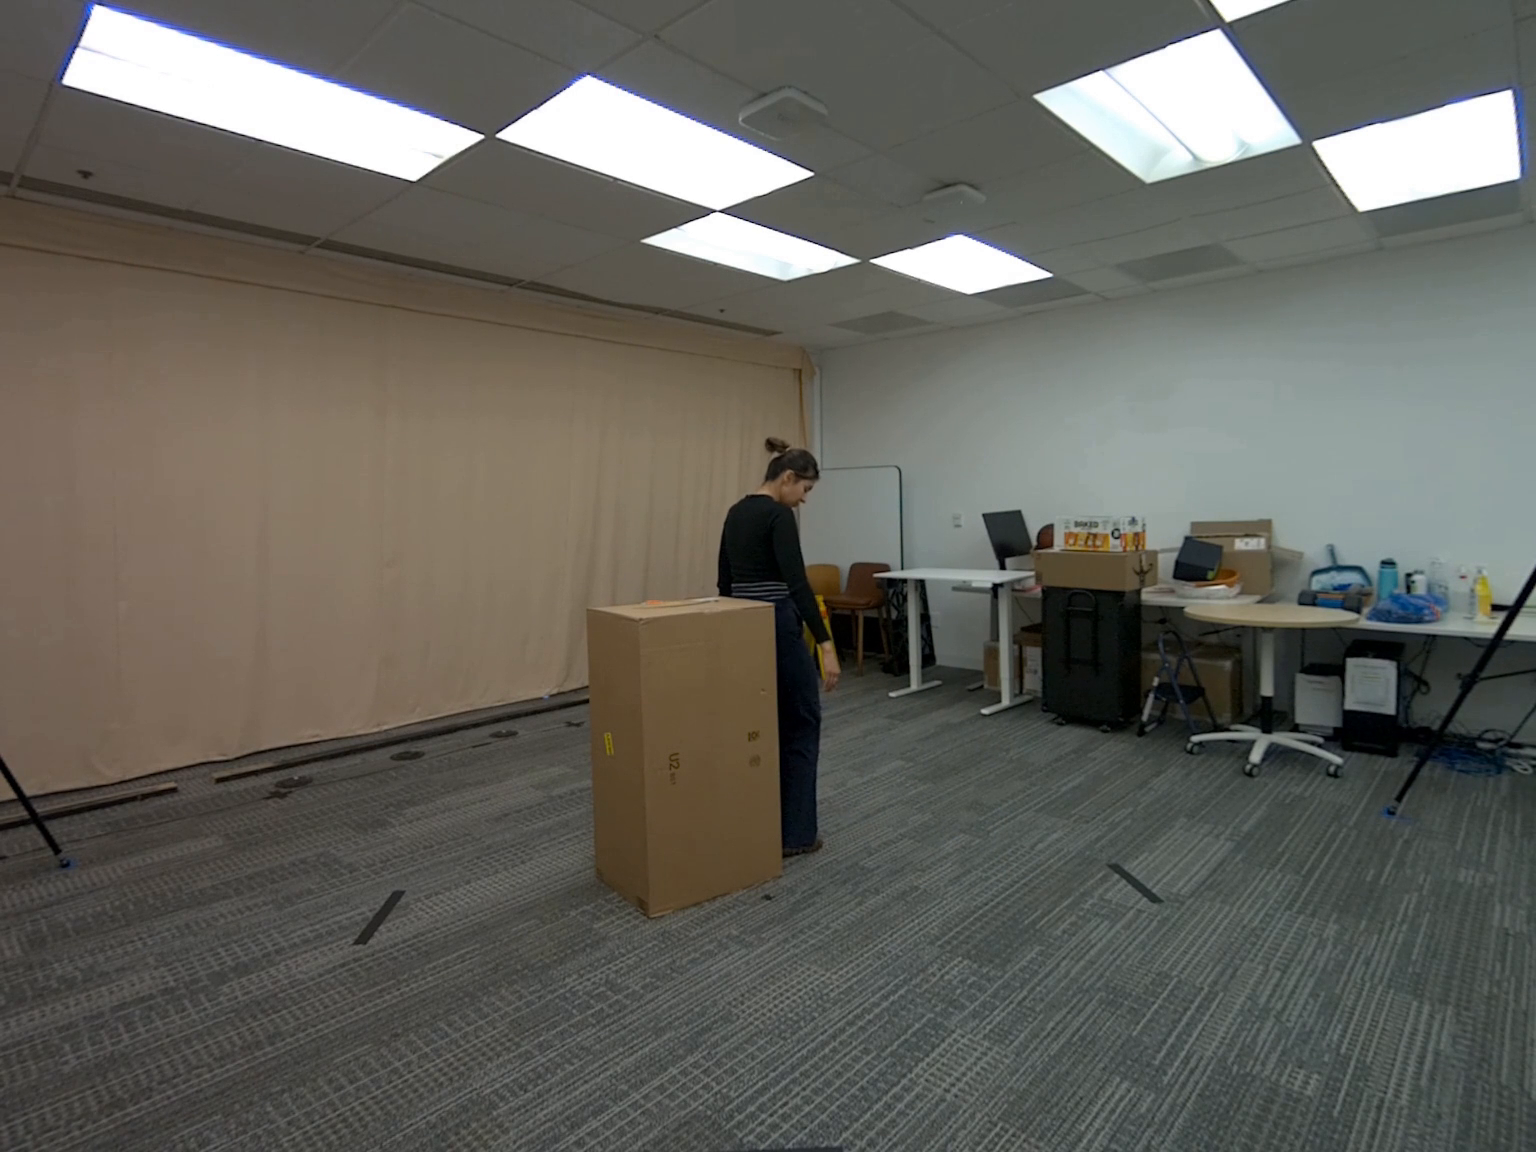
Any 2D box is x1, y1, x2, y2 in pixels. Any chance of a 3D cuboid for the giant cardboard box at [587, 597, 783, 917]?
[{"bbox_3d":[-0.316,0.624,3.142,0.561,1.024,0.439,-4,4,-35],"label":"giant cardboard box"}]
